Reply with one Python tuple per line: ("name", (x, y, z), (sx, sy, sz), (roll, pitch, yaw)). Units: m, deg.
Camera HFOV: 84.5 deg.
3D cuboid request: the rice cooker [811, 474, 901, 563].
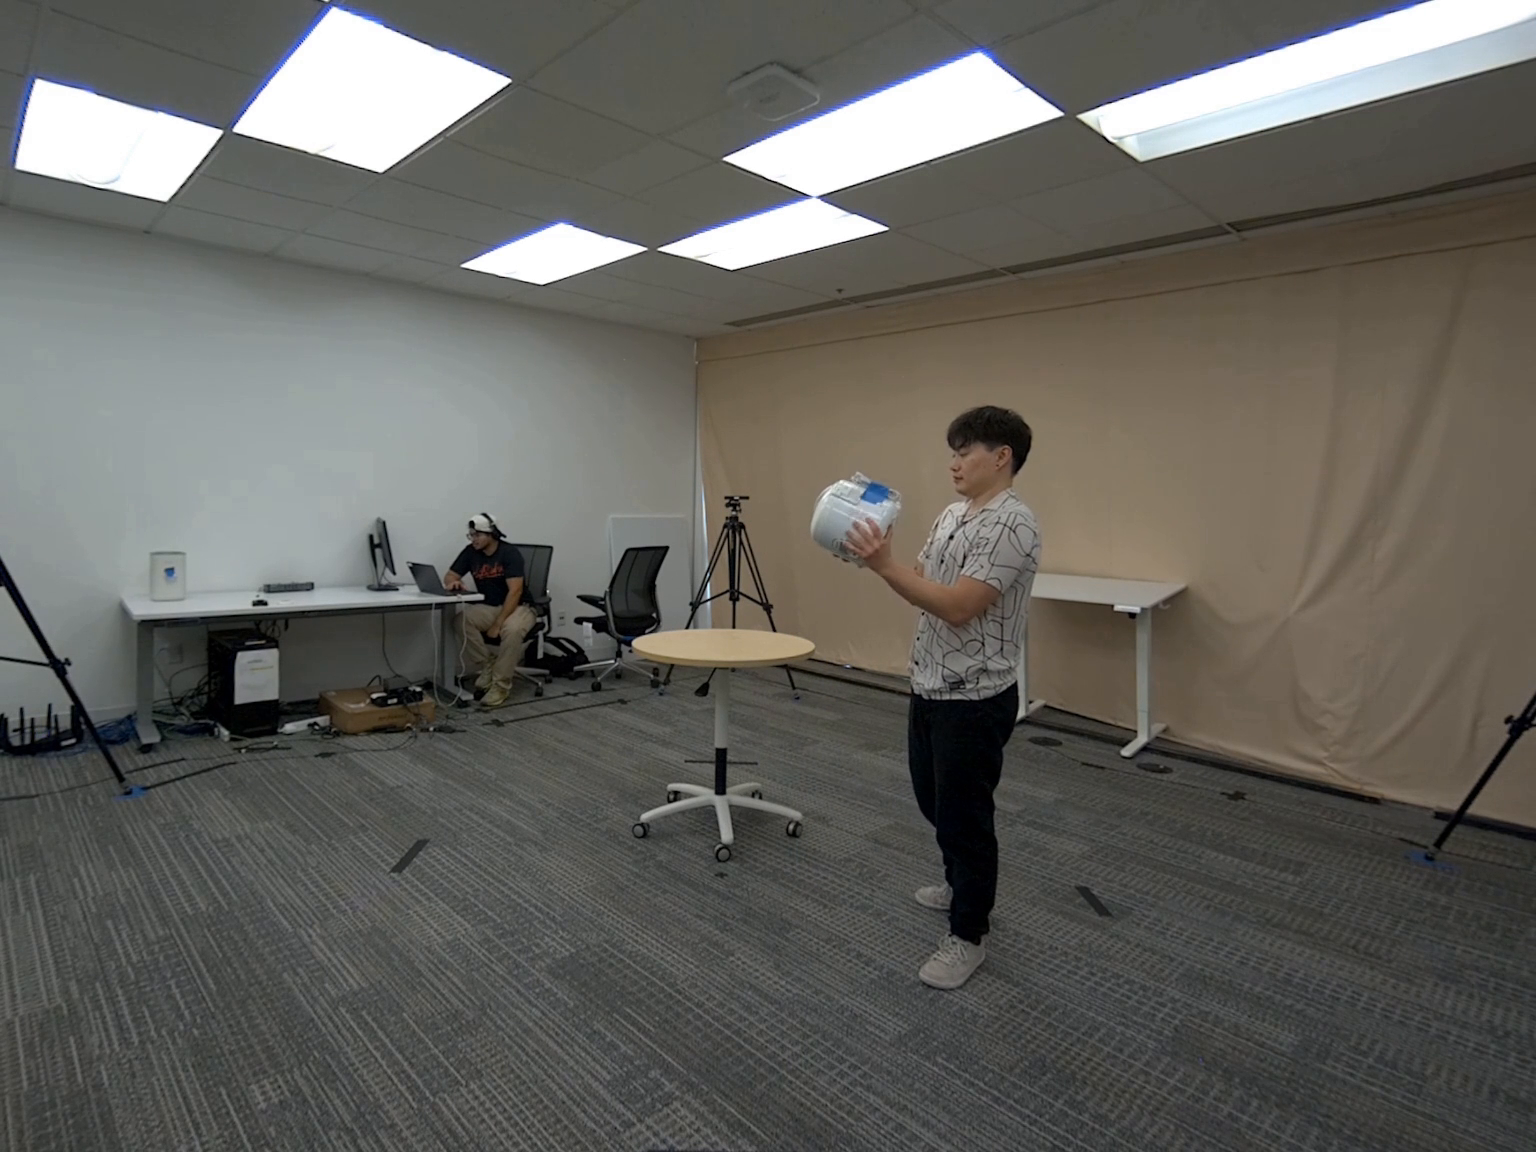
("rice cooker", (0.238, -0.156, 2.444), (0.237, 0.216, 0.218), (25, 52, 17))
